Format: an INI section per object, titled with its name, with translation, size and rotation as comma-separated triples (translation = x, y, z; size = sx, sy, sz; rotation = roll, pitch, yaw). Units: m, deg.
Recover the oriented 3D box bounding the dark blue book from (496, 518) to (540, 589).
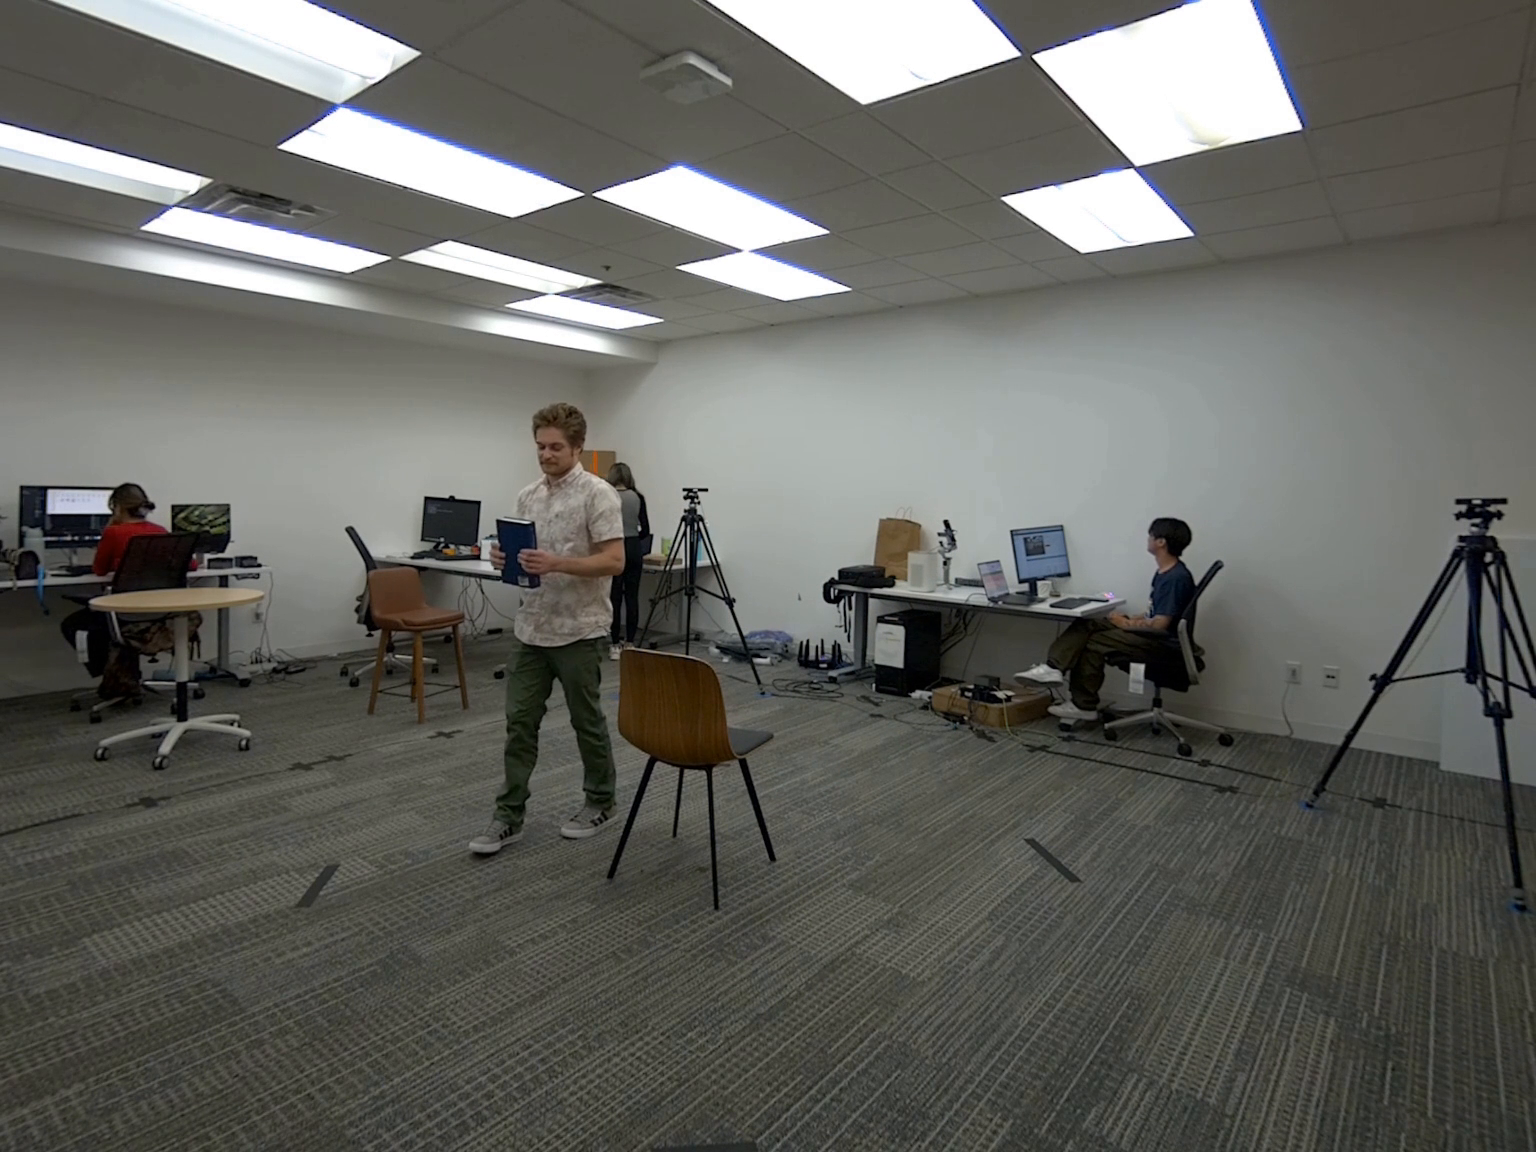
[dark blue book]
translation = -0.932, -0.091, 3.093
size = 0.169, 0.241, 0.044
rotation = 9, 18, 33
